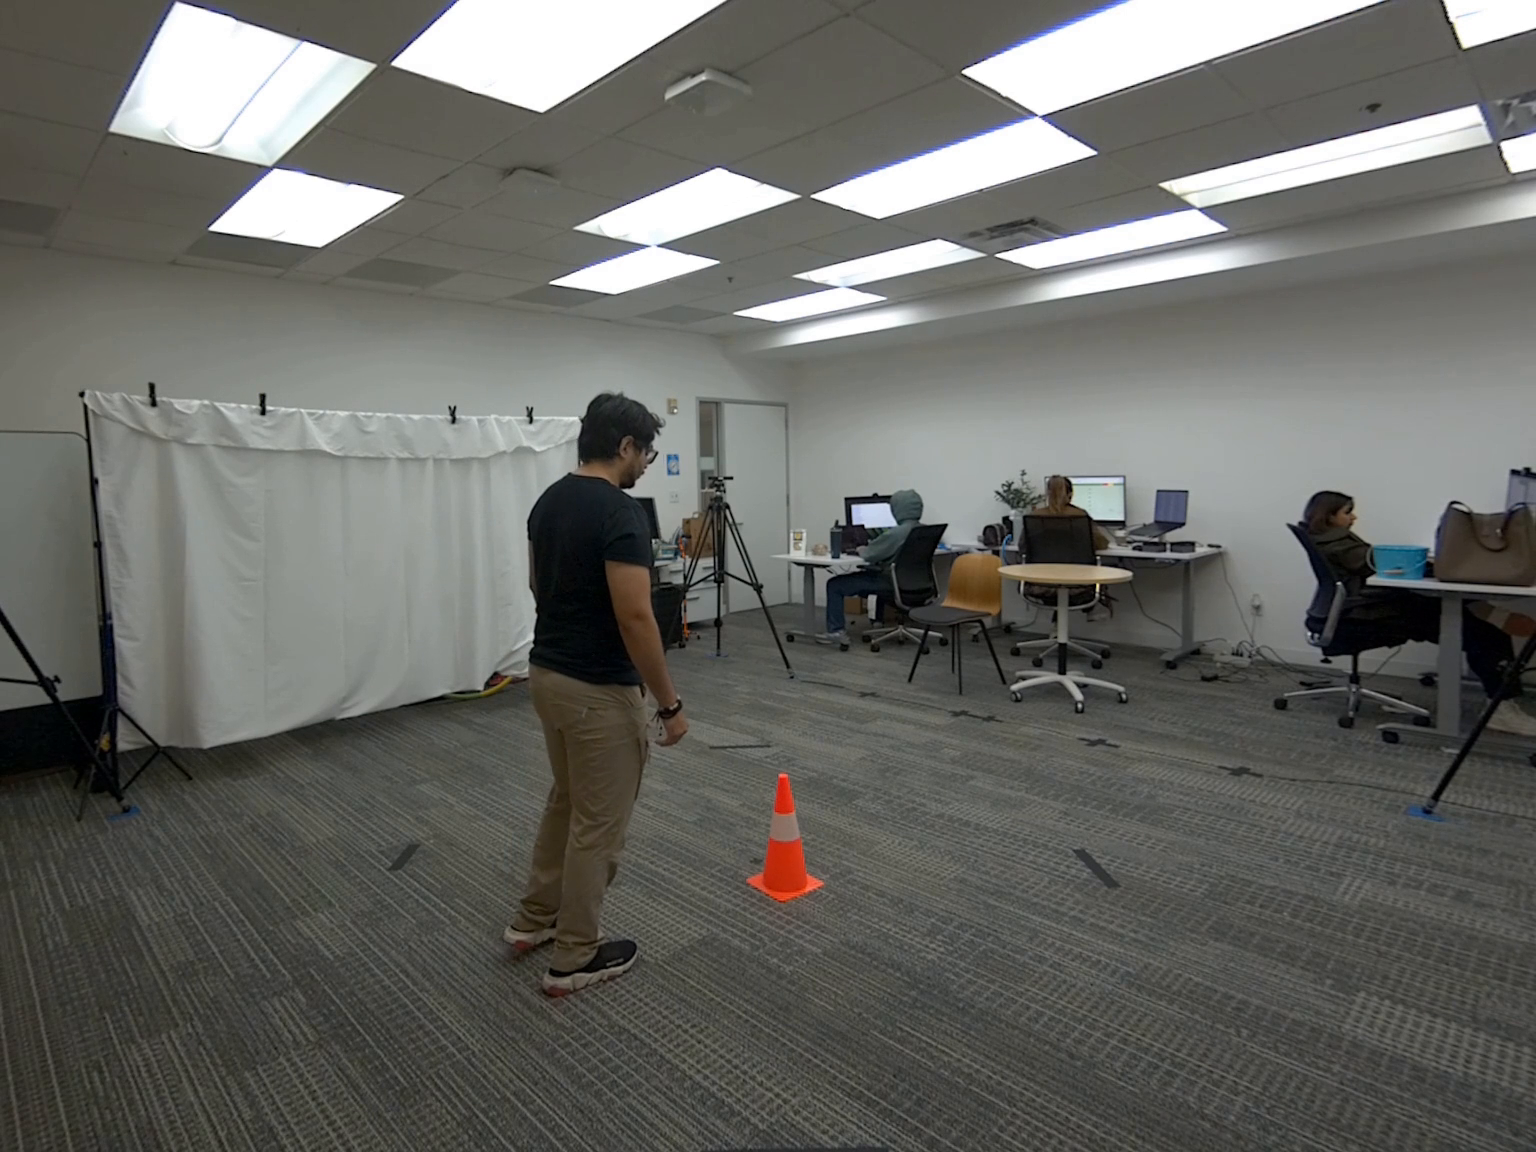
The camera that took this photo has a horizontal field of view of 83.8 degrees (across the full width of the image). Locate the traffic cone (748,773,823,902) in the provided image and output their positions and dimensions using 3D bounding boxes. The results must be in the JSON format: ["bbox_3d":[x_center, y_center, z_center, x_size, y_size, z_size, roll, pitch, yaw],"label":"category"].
[{"bbox_3d":[0.057,0.872,2.924,0.200,0.382,0.209,-5,6,-36],"label":"traffic cone"}]
